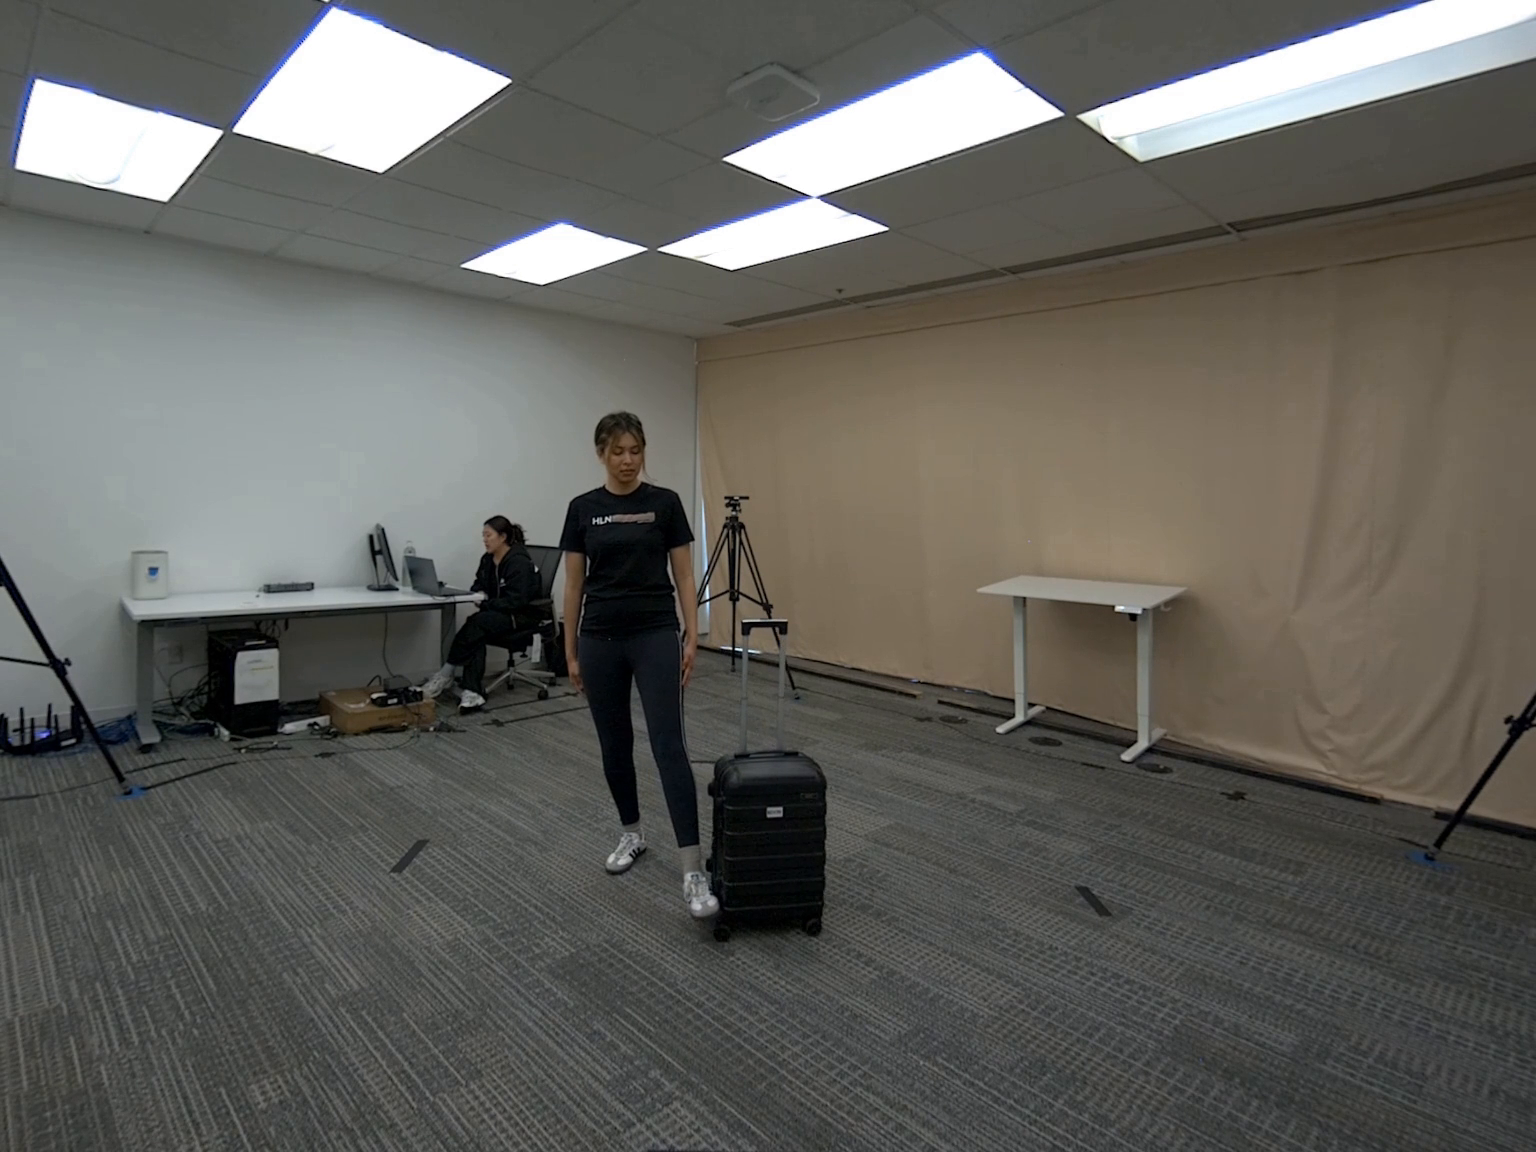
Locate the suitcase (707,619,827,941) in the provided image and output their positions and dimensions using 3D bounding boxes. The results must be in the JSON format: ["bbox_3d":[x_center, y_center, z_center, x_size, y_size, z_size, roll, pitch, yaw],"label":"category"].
[{"bbox_3d":[0.001,0.659,2.745,0.380,0.976,0.260,1,3,-12],"label":"suitcase"}]
